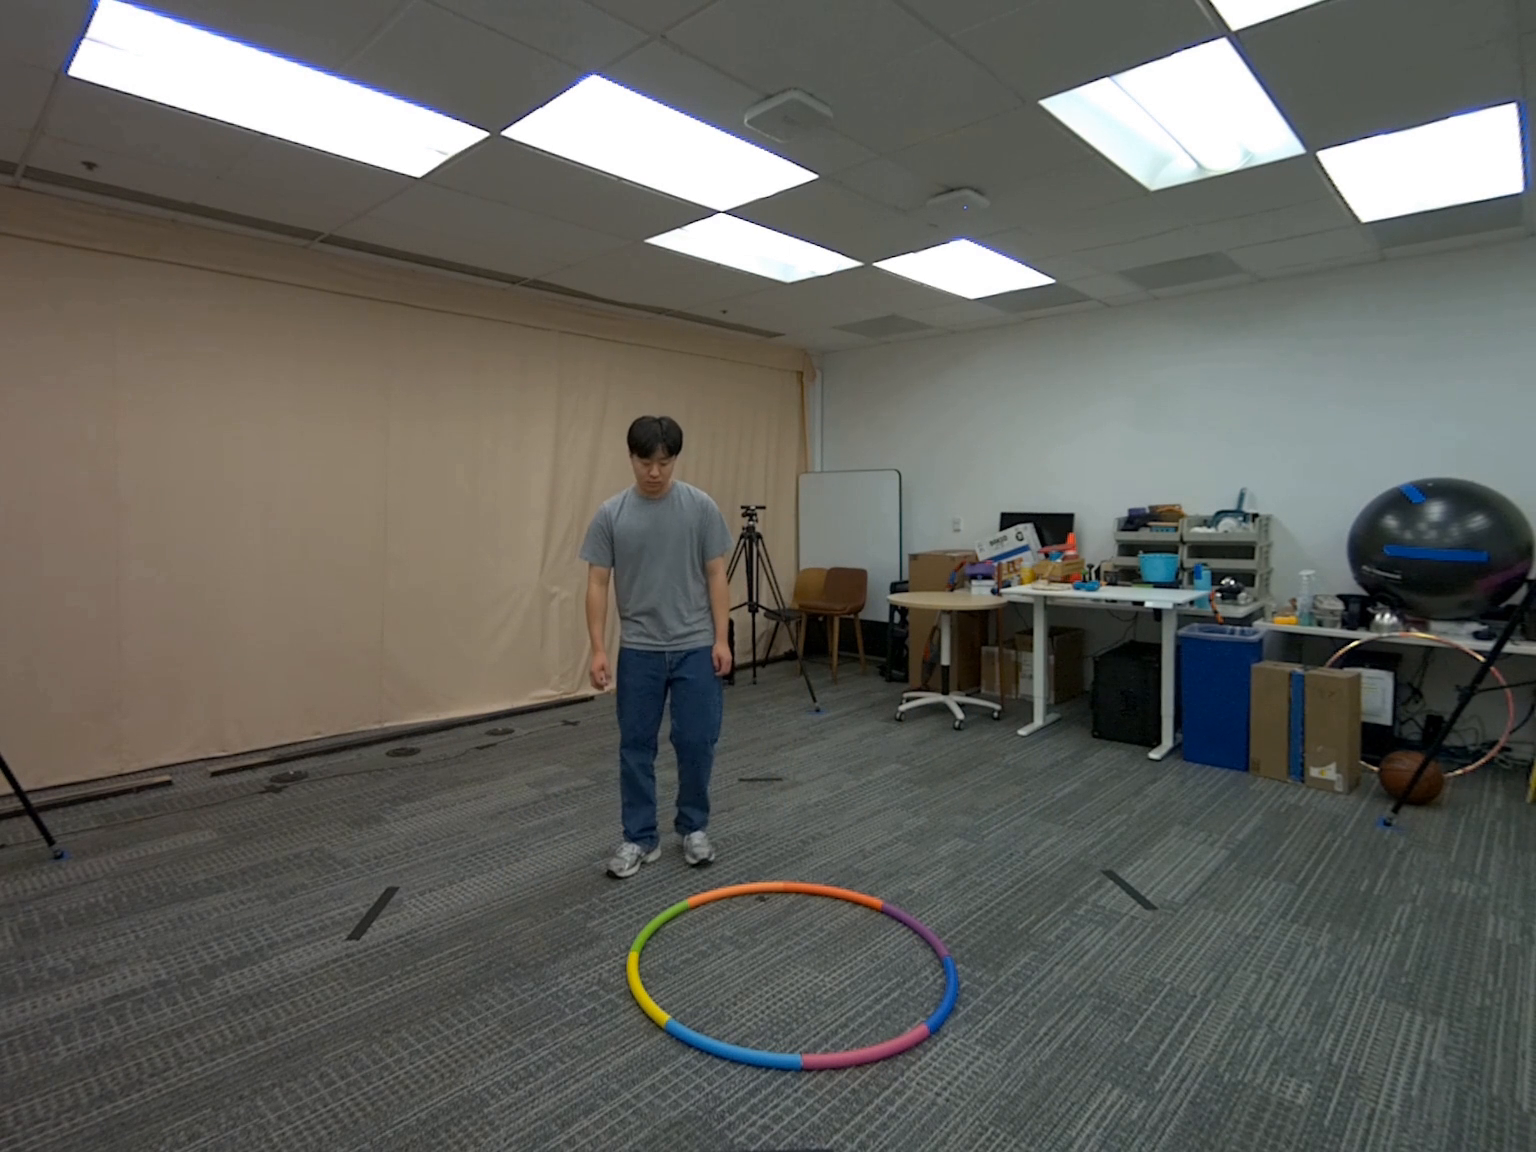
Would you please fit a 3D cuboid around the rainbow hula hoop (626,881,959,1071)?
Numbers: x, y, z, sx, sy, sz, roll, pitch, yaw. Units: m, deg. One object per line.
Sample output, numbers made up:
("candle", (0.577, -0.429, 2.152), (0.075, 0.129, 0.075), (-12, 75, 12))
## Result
("rainbow hula hoop", (0.071, 1.147, 2.563), (0.978, 0.035, 0.982), (0, 4, -2))
